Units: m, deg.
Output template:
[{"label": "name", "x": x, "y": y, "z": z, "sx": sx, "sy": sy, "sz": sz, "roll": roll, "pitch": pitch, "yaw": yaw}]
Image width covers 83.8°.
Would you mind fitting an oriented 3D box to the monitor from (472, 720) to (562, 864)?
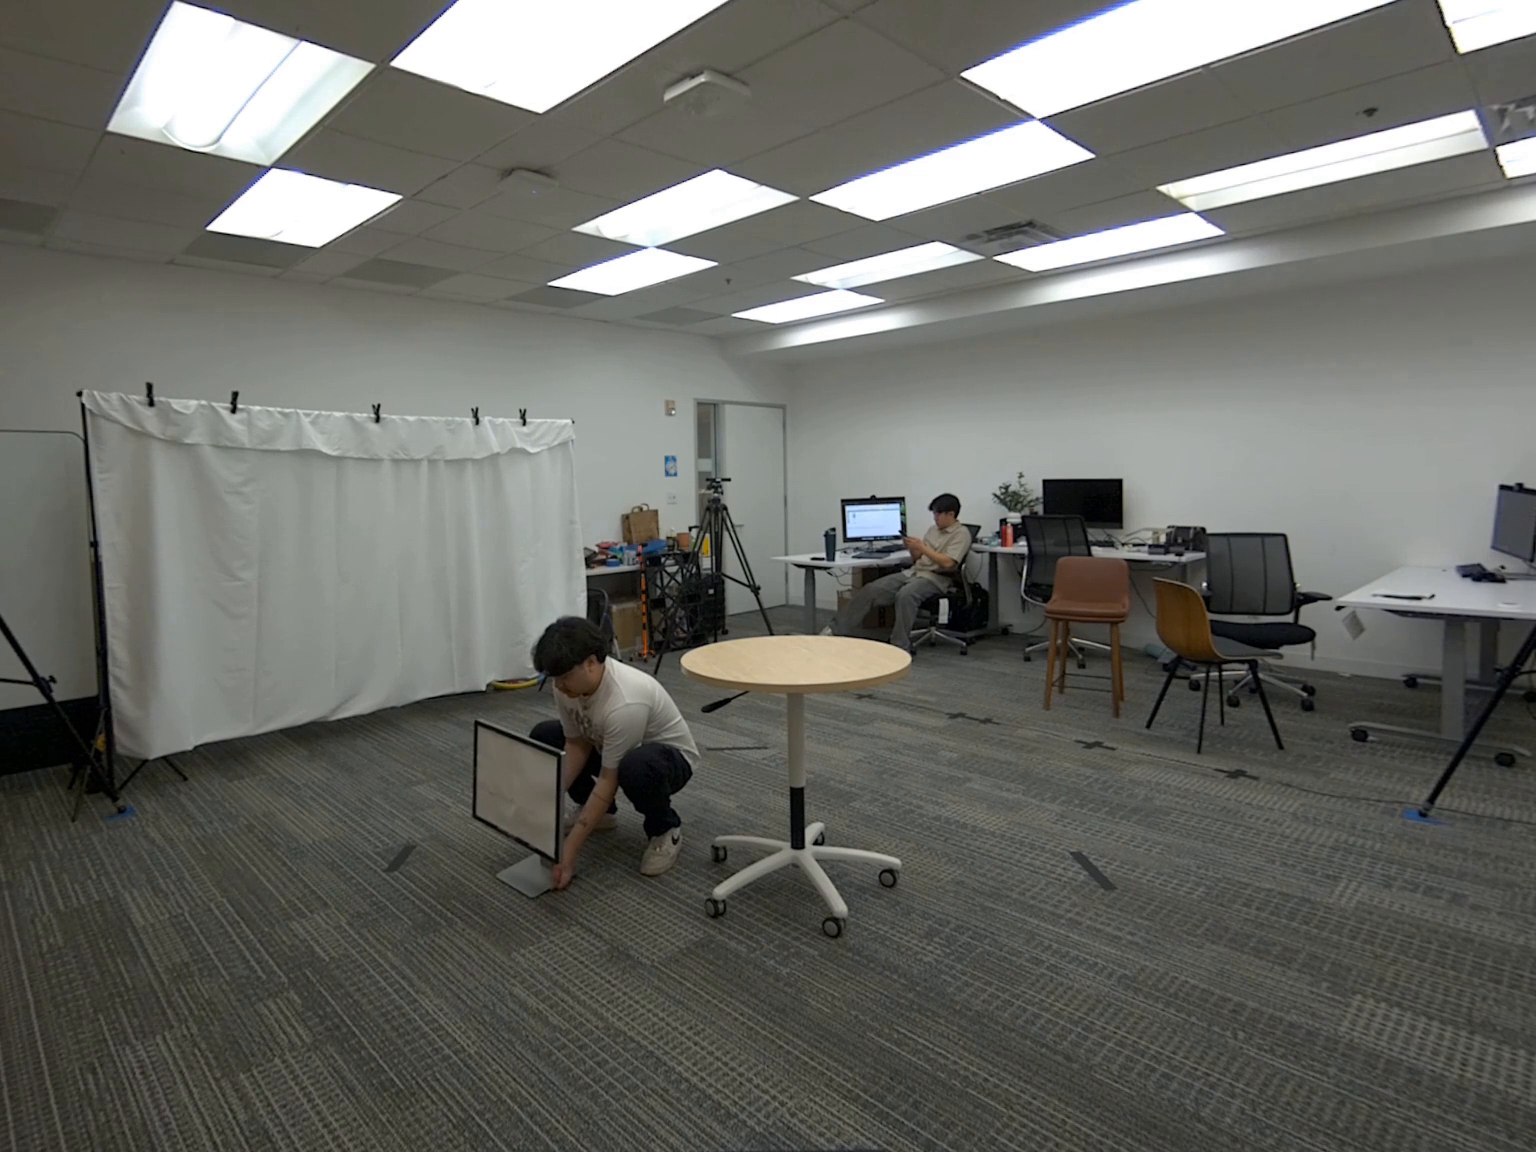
[{"label": "monitor", "x": -0.818, "y": 0.810, "z": 3.003, "sx": 0.583, "sy": 0.551, "sz": 0.205, "roll": 4, "pitch": 8, "yaw": 45}]
